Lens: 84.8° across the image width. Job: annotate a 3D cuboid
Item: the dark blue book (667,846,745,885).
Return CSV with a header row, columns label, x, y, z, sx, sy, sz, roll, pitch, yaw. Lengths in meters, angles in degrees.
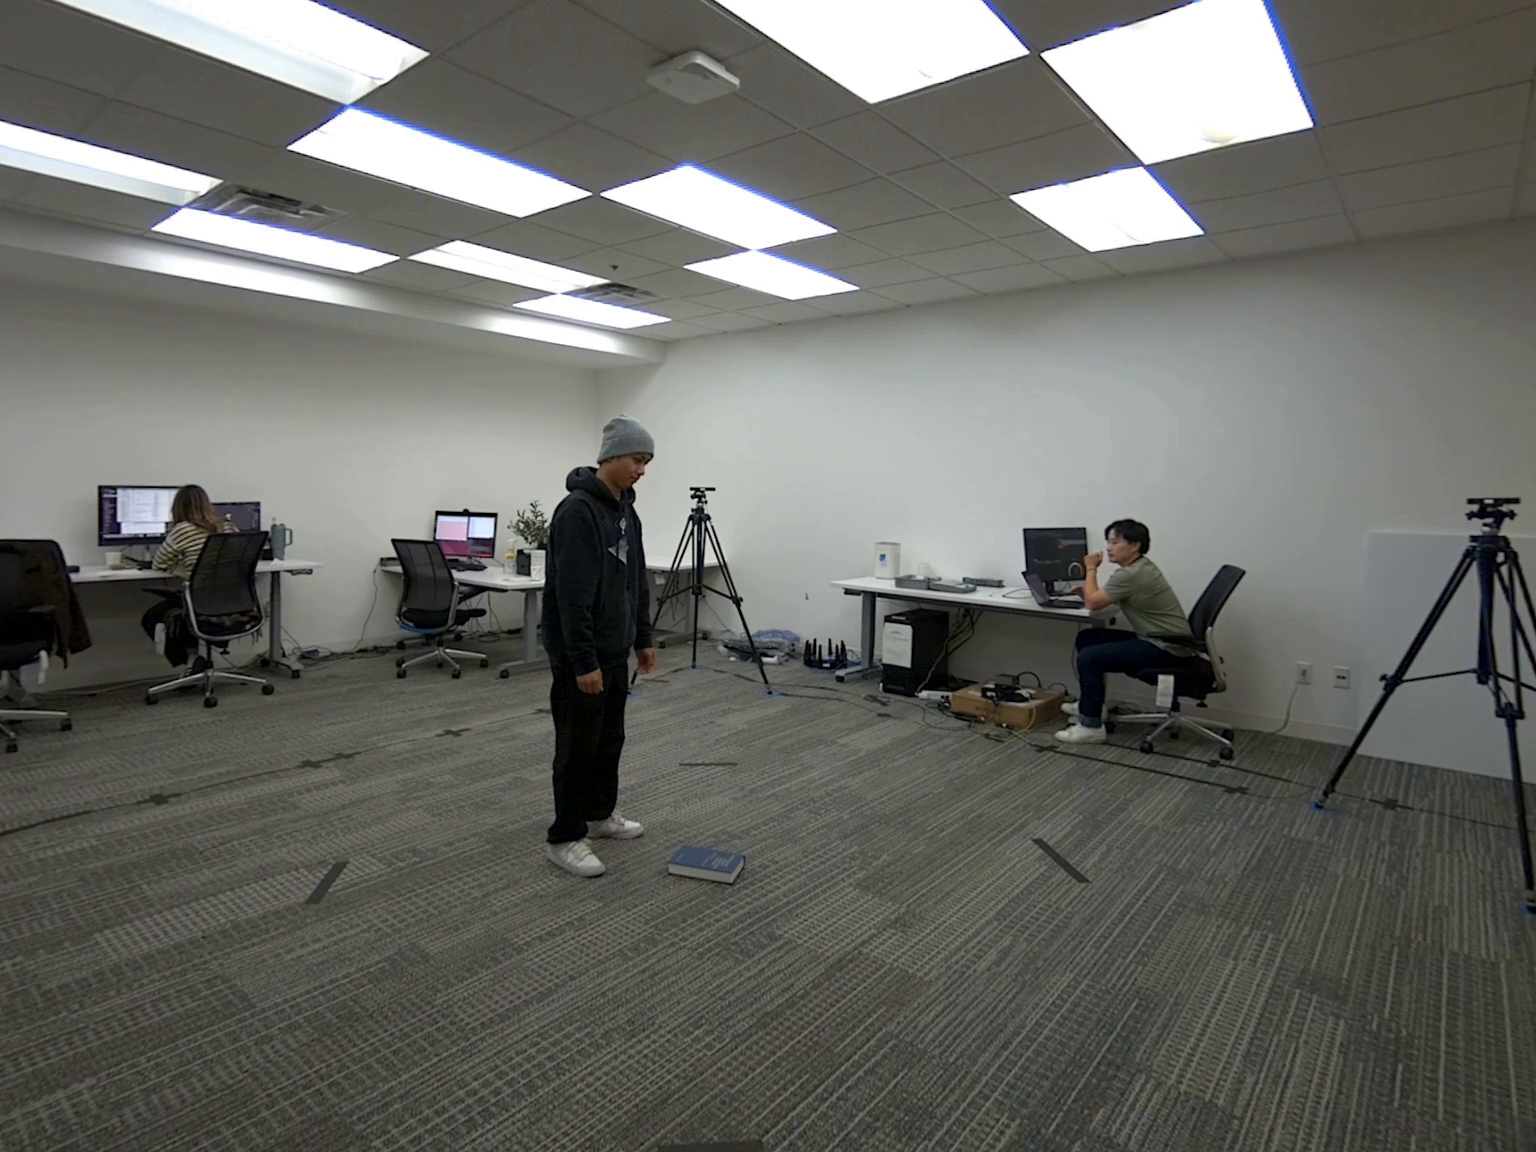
label,x,y,z,sx,sy,sz,roll,pitch,yaw
dark blue book,-0.232,1.041,3.089,0.250,0.045,0.161,3,6,17
